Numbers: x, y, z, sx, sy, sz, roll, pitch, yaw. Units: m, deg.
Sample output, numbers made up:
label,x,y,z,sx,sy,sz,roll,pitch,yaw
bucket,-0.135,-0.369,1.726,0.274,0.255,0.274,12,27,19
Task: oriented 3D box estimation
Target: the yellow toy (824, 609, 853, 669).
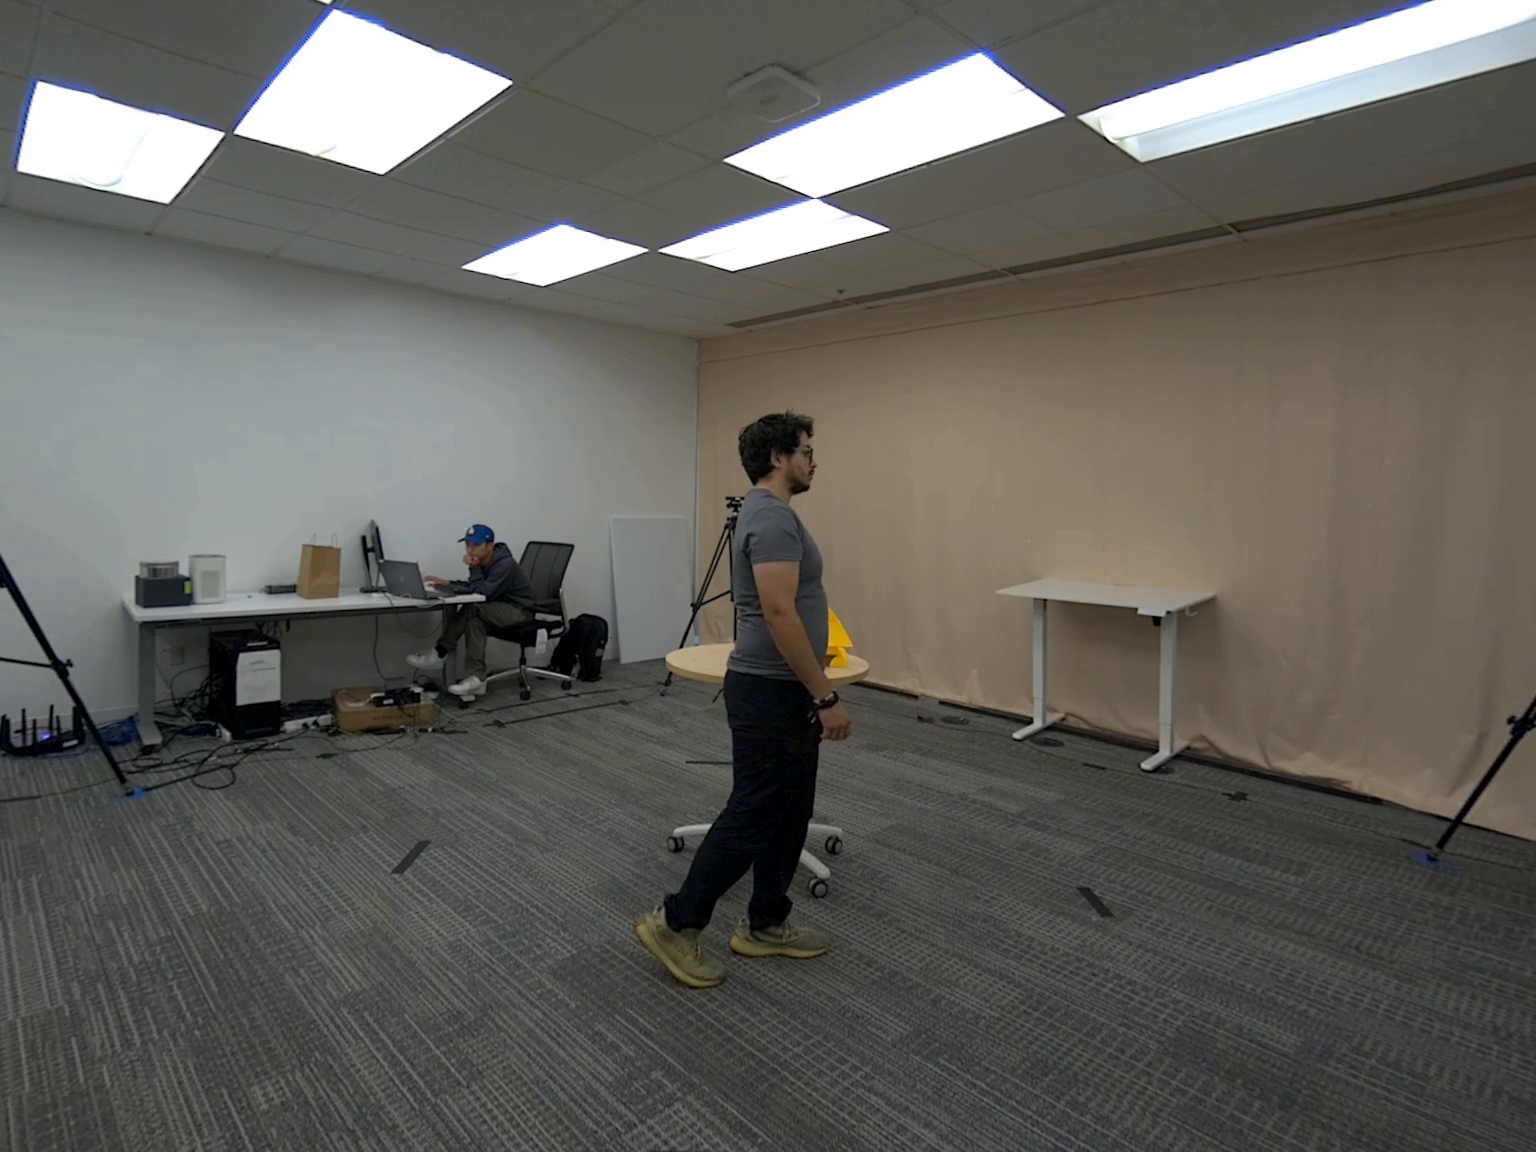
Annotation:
label,x,y,z,sx,sy,sz,roll,pitch,yaw
yellow toy,0.191,0.215,3.156,0.204,0.230,0.194,2,3,-5
